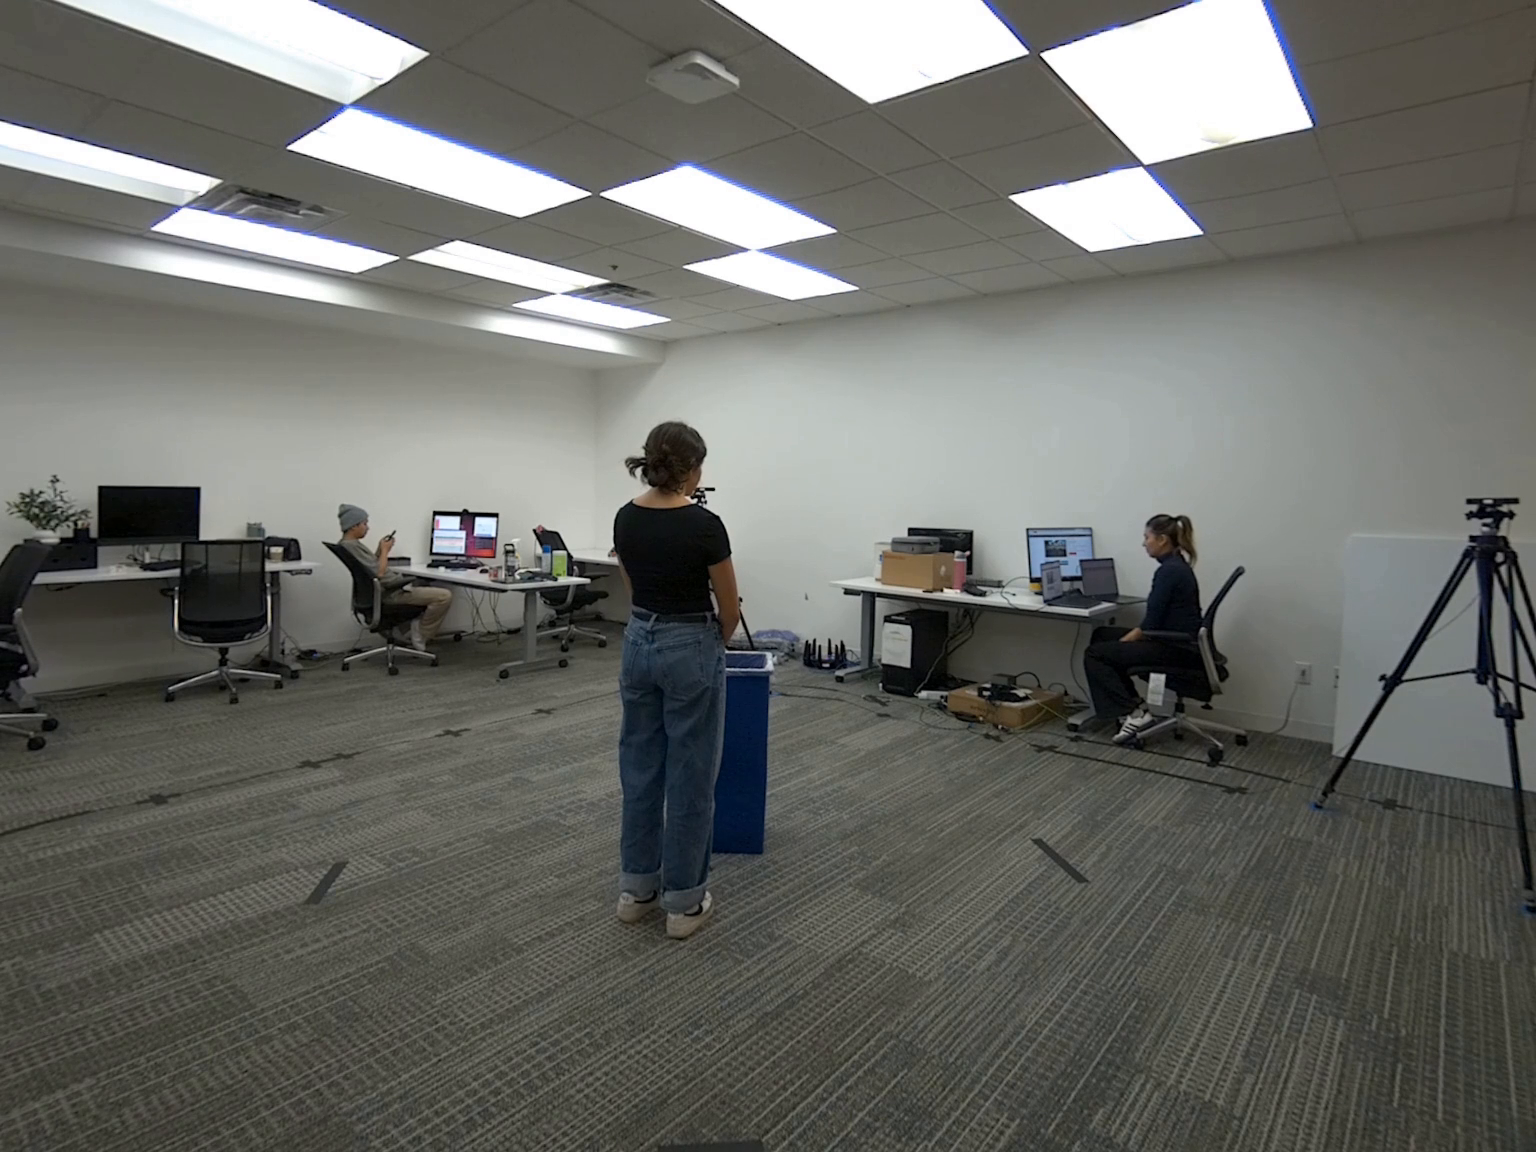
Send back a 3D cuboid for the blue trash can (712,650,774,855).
[{"bbox_3d":[-0.179,0.687,3.380,0.375,0.712,0.378,1,2,1],"label":"blue trash can"}]
